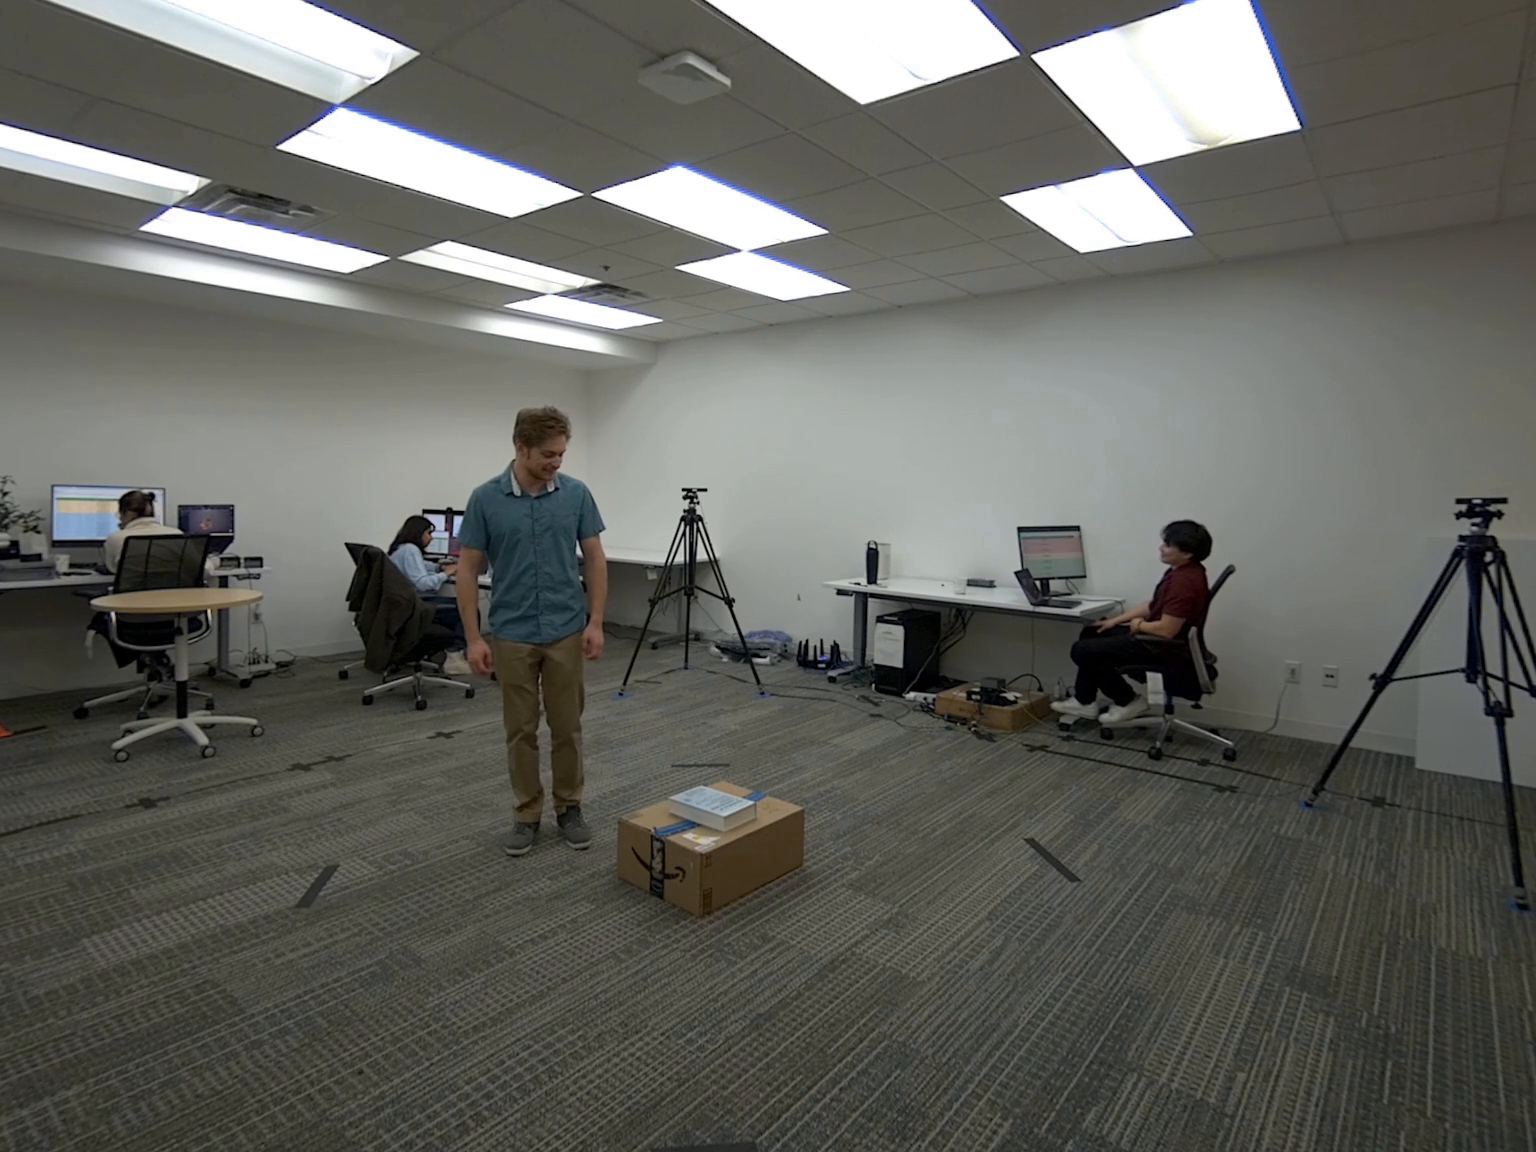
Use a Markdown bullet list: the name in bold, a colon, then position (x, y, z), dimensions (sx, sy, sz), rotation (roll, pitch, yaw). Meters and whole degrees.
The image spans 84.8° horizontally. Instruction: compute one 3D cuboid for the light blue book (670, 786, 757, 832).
- **light blue book**: position (-0.208, 0.830, 3.079), dimensions (0.270, 0.059, 0.186), rotation (5, 7, 38)
